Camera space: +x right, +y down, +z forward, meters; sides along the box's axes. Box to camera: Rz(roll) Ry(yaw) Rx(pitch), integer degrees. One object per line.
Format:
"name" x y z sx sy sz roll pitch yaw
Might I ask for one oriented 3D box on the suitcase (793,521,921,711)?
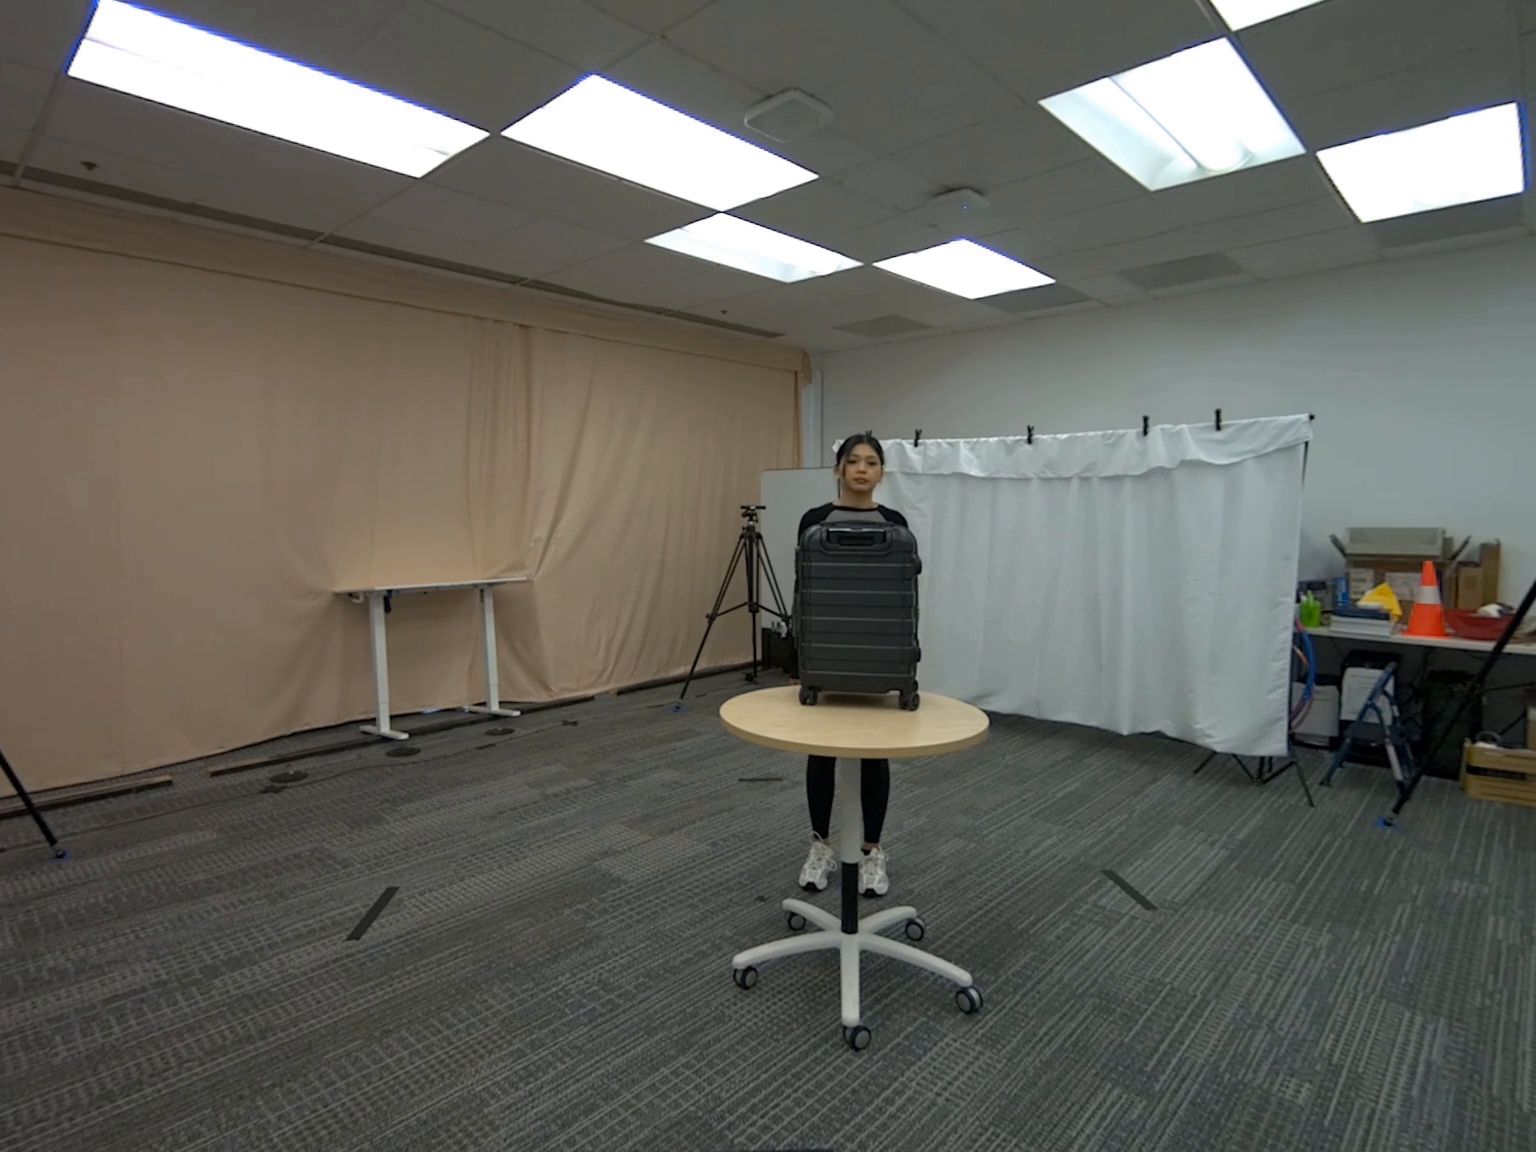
"suitcase" 0.273 0.106 2.584 0.381 0.548 0.245 0 3 12
